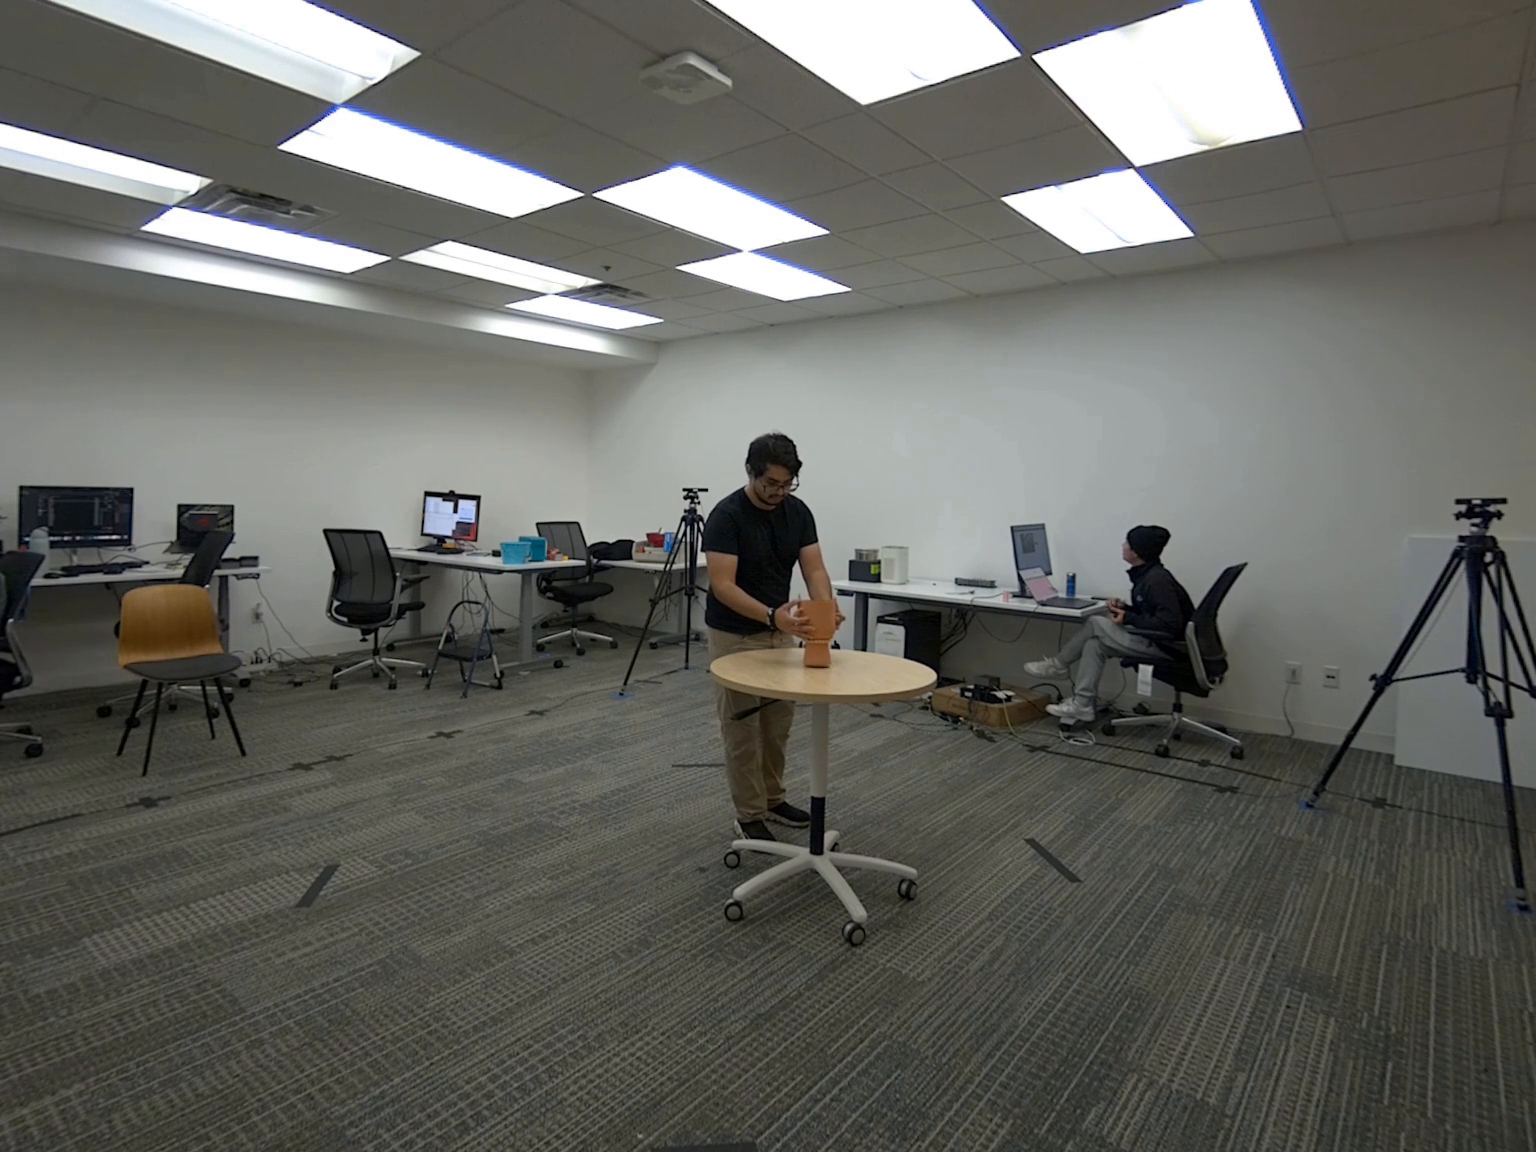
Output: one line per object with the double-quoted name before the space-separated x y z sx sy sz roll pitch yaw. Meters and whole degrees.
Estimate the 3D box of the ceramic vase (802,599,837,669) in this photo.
"ceramic vase" 0.158 0.193 2.959 0.159 0.220 0.134 -2 -2 3
